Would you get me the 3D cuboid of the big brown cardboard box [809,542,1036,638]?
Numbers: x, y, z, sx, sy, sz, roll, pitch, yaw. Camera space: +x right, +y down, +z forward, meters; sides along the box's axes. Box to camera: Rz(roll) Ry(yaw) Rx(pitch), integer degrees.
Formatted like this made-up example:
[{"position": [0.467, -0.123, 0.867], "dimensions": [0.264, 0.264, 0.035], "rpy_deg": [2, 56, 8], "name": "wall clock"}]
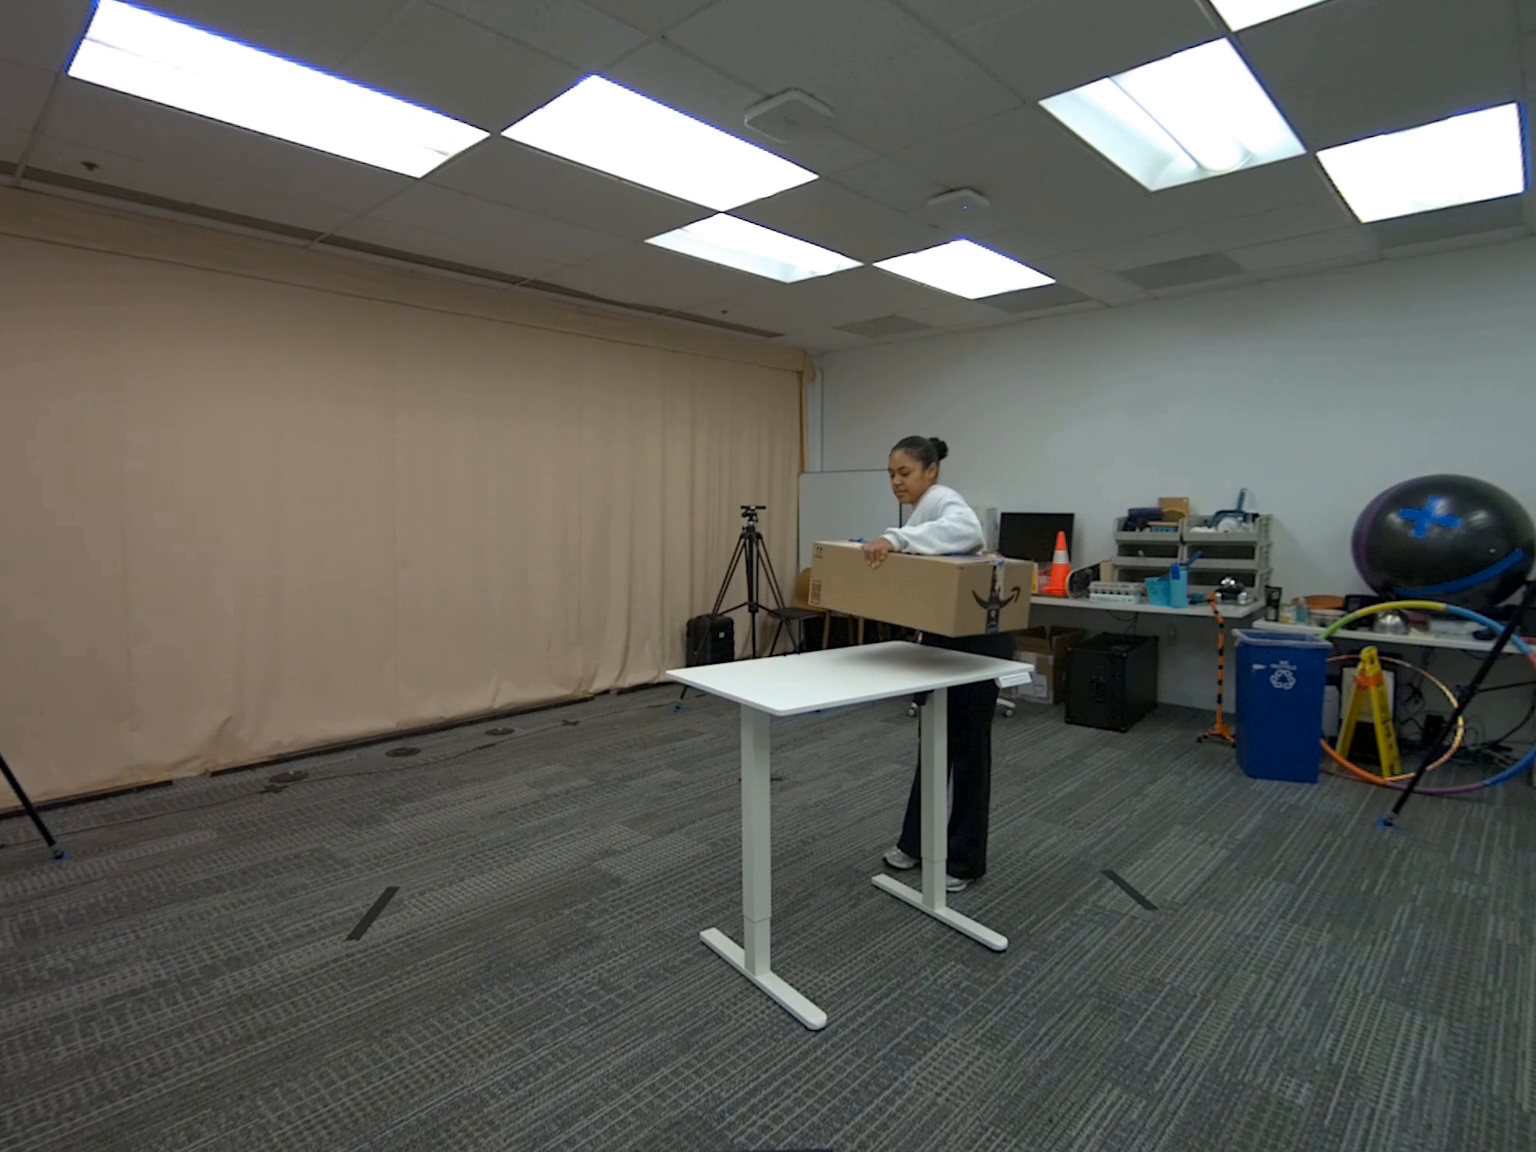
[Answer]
[{"position": [0.491, 0.028, 2.754], "dimensions": [0.404, 0.232, 0.610], "rpy_deg": [-2, 10, -44], "name": "big brown cardboard box"}]
